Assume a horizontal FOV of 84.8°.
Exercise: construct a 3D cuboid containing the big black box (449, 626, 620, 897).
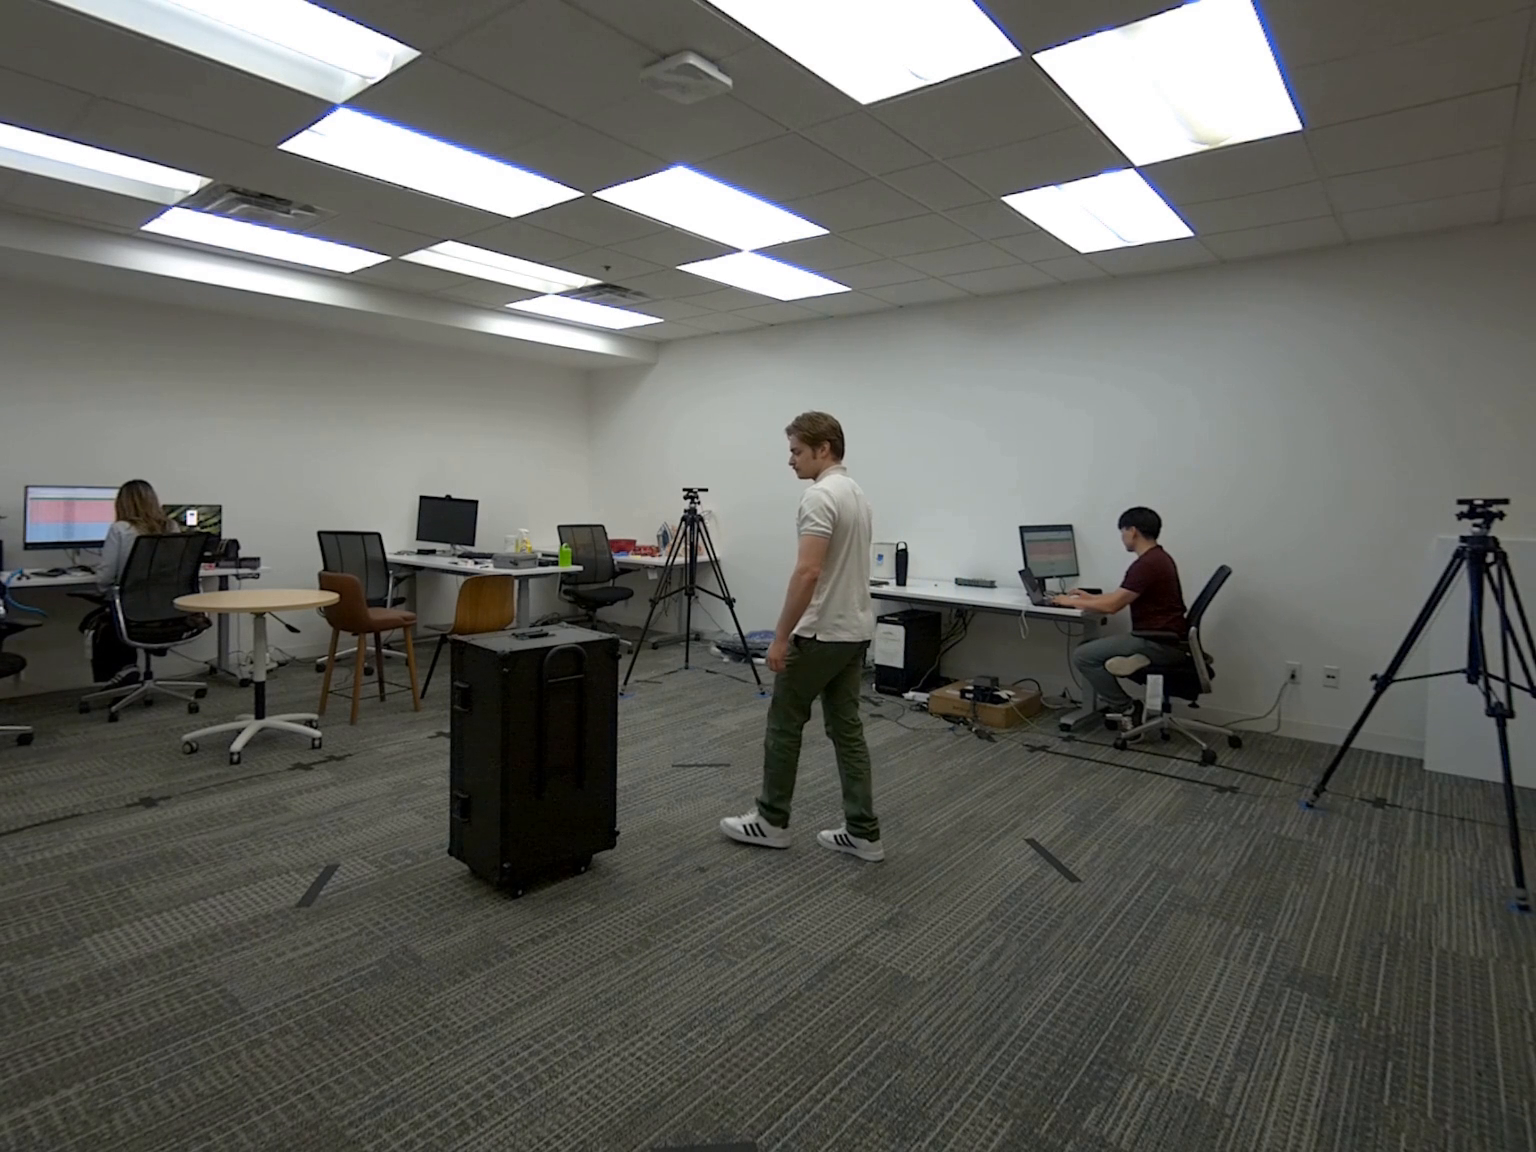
[{"bbox_3d":[-0.842,0.646,3.053,0.410,0.859,0.505,5,4,44],"label":"big black box"}]
